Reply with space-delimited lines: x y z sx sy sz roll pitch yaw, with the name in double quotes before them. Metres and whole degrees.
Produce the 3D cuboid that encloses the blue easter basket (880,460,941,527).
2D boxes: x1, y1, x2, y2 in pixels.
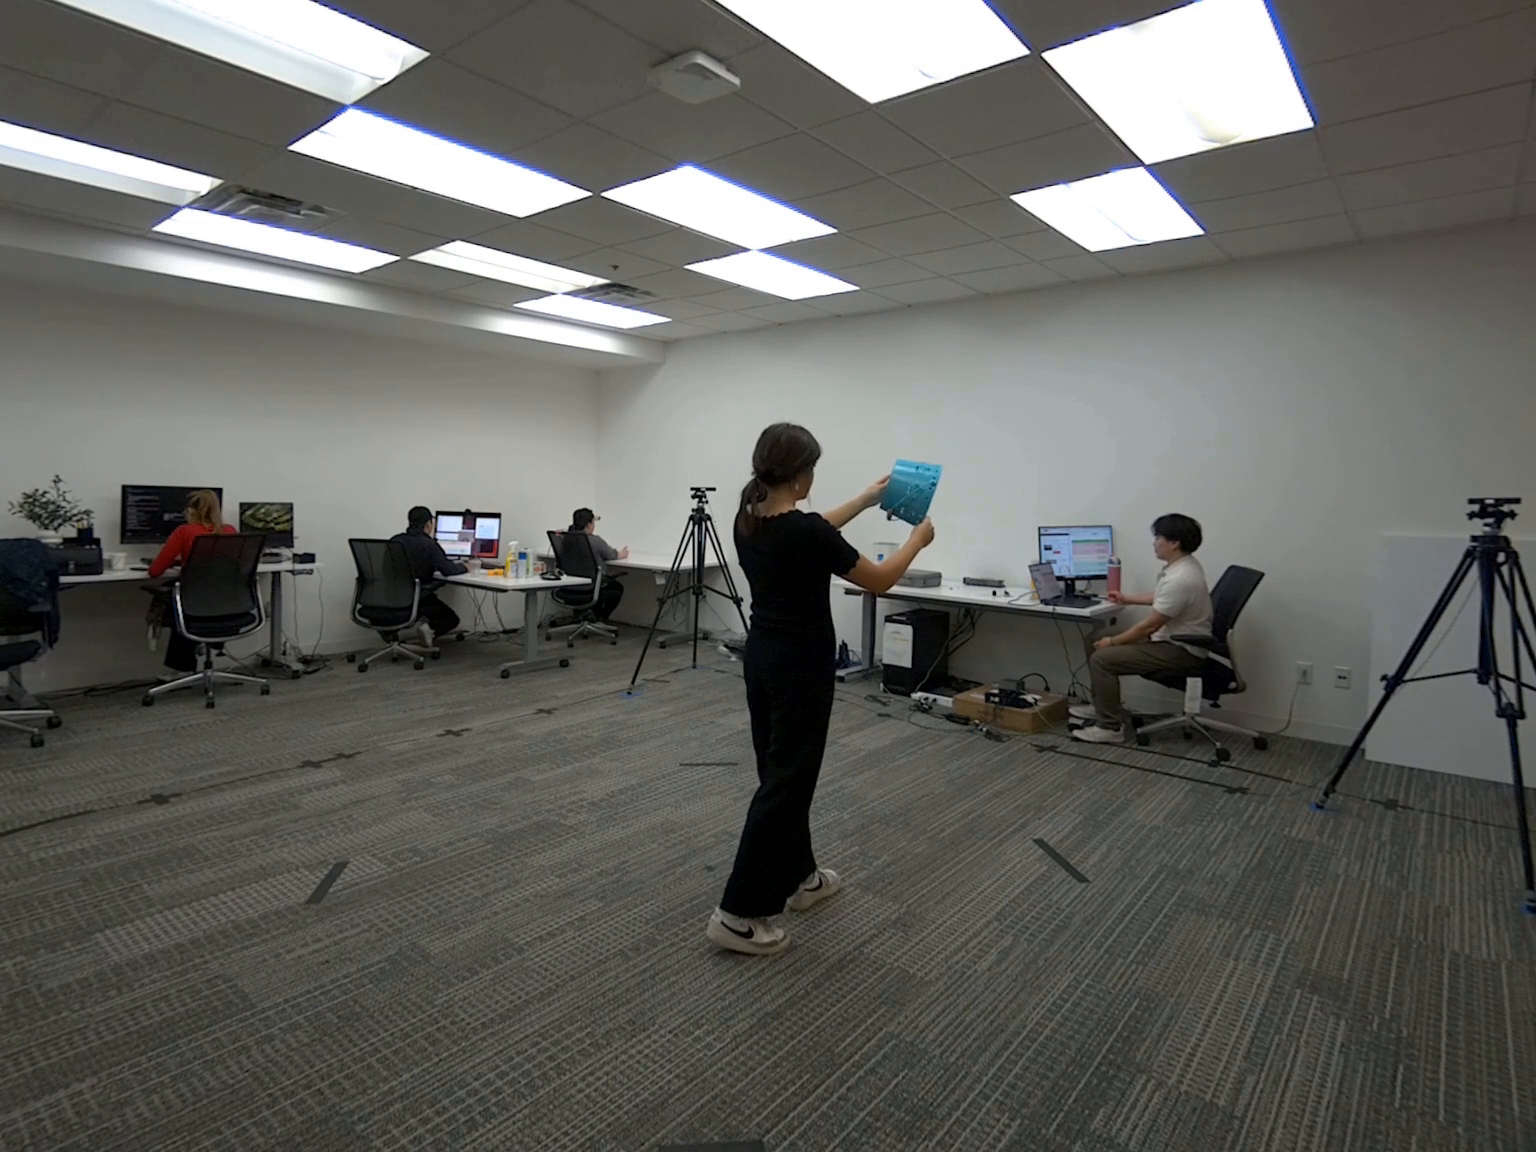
"blue easter basket" 0.477 -0.286 2.895 0.158 0.242 0.242 19 7 7
